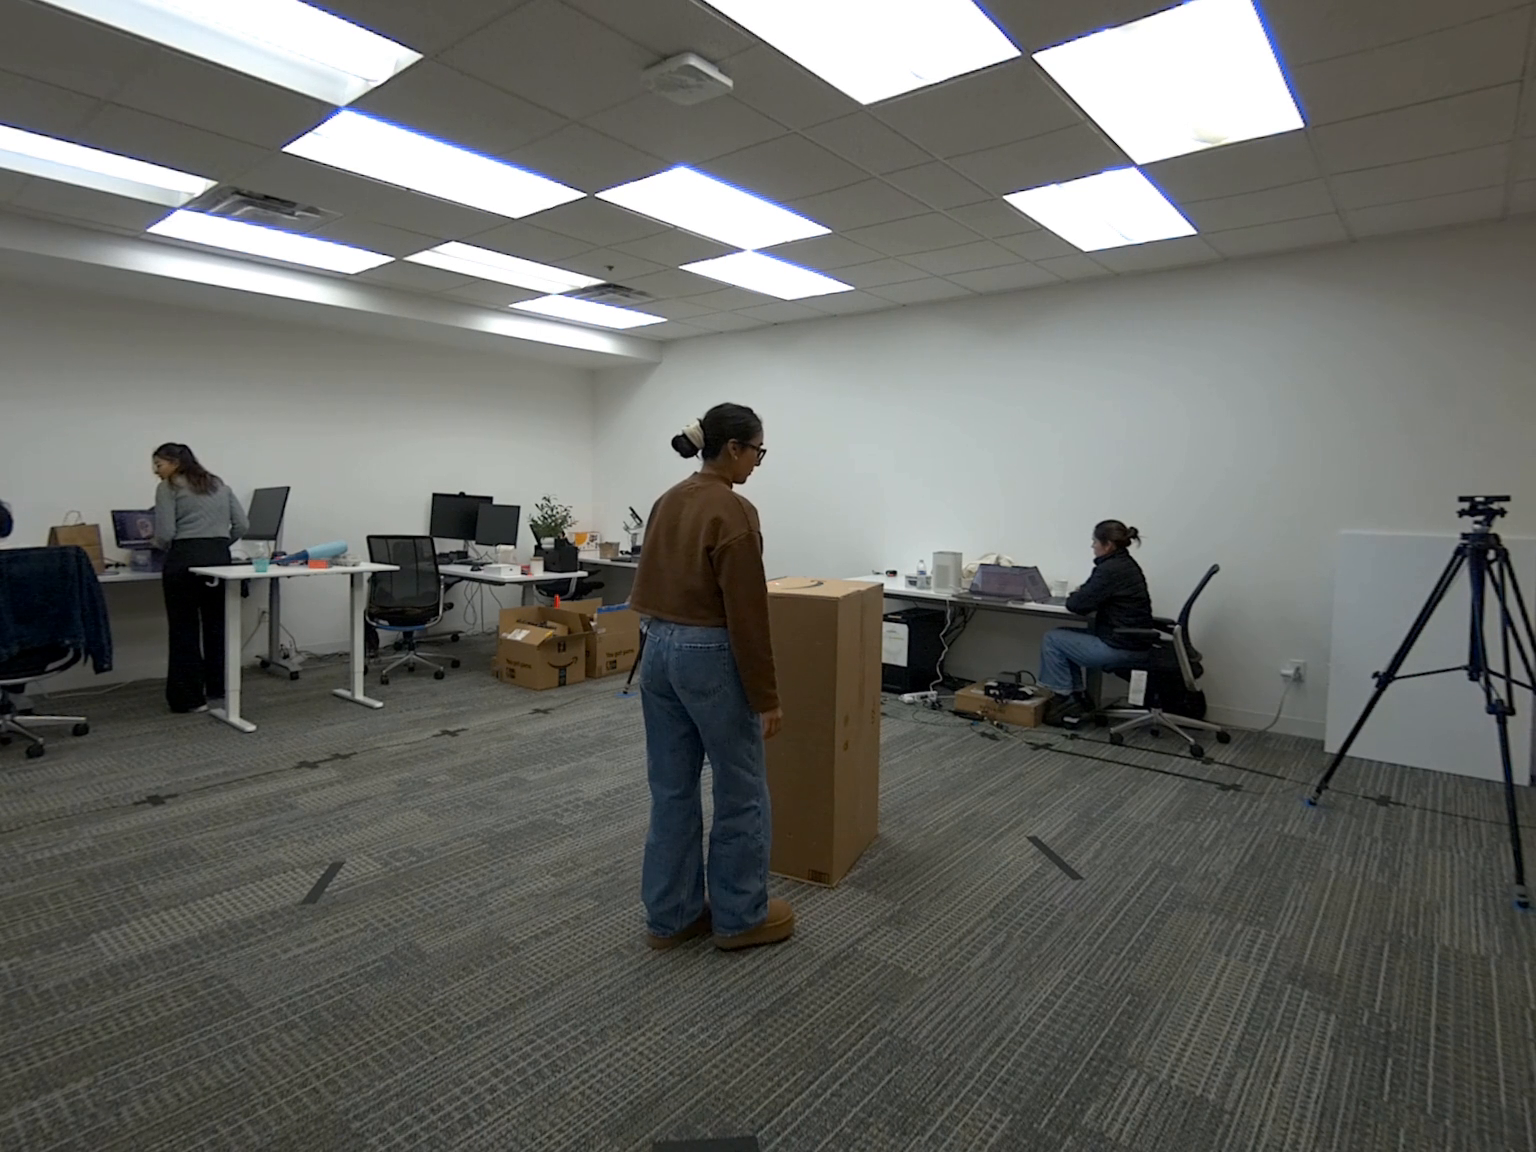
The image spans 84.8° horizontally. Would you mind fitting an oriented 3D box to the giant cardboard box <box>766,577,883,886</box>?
[{"bbox_3d":[0.149,0.544,3.279,0.437,1.023,0.564,3,4,25],"label":"giant cardboard box"}]
